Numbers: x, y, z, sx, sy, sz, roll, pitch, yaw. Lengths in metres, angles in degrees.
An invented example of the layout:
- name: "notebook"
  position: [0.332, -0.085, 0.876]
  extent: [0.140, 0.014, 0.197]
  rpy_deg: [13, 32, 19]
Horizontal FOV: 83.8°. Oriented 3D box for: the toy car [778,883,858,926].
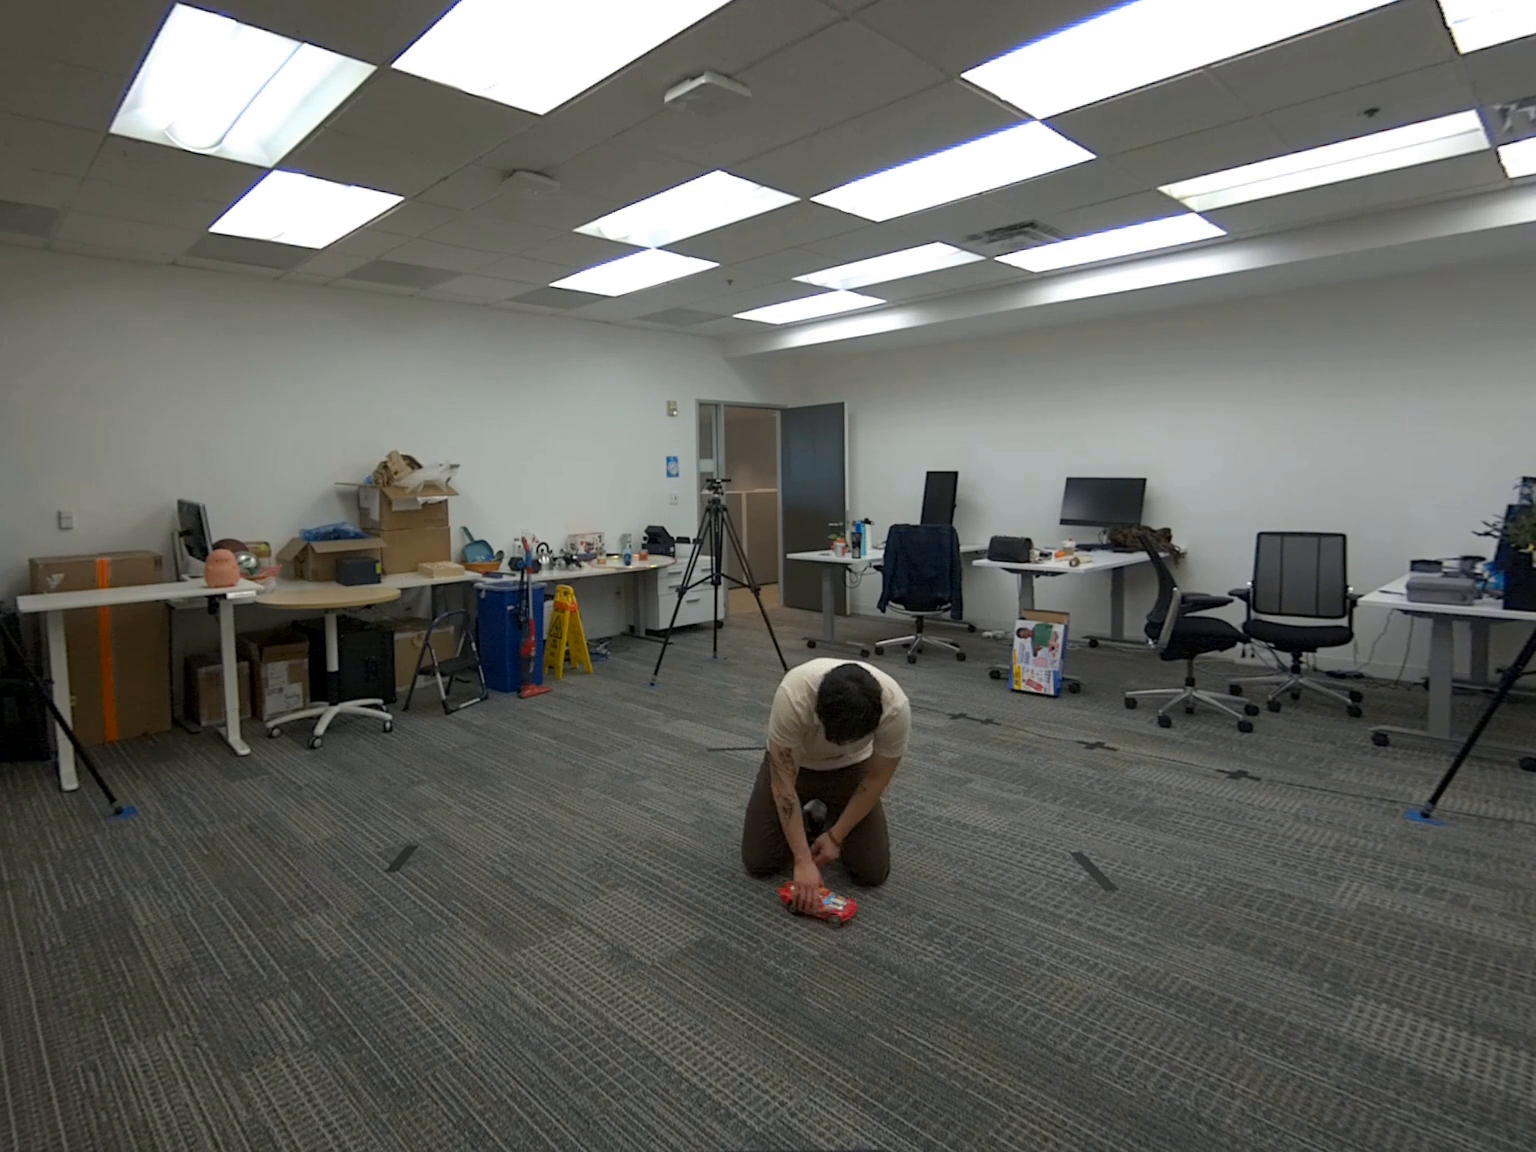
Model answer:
- name: "toy car"
  position: [0.154, 1.053, 2.751]
  extent: [0.263, 0.082, 0.127]
  rpy_deg: [15, 13, 32]
